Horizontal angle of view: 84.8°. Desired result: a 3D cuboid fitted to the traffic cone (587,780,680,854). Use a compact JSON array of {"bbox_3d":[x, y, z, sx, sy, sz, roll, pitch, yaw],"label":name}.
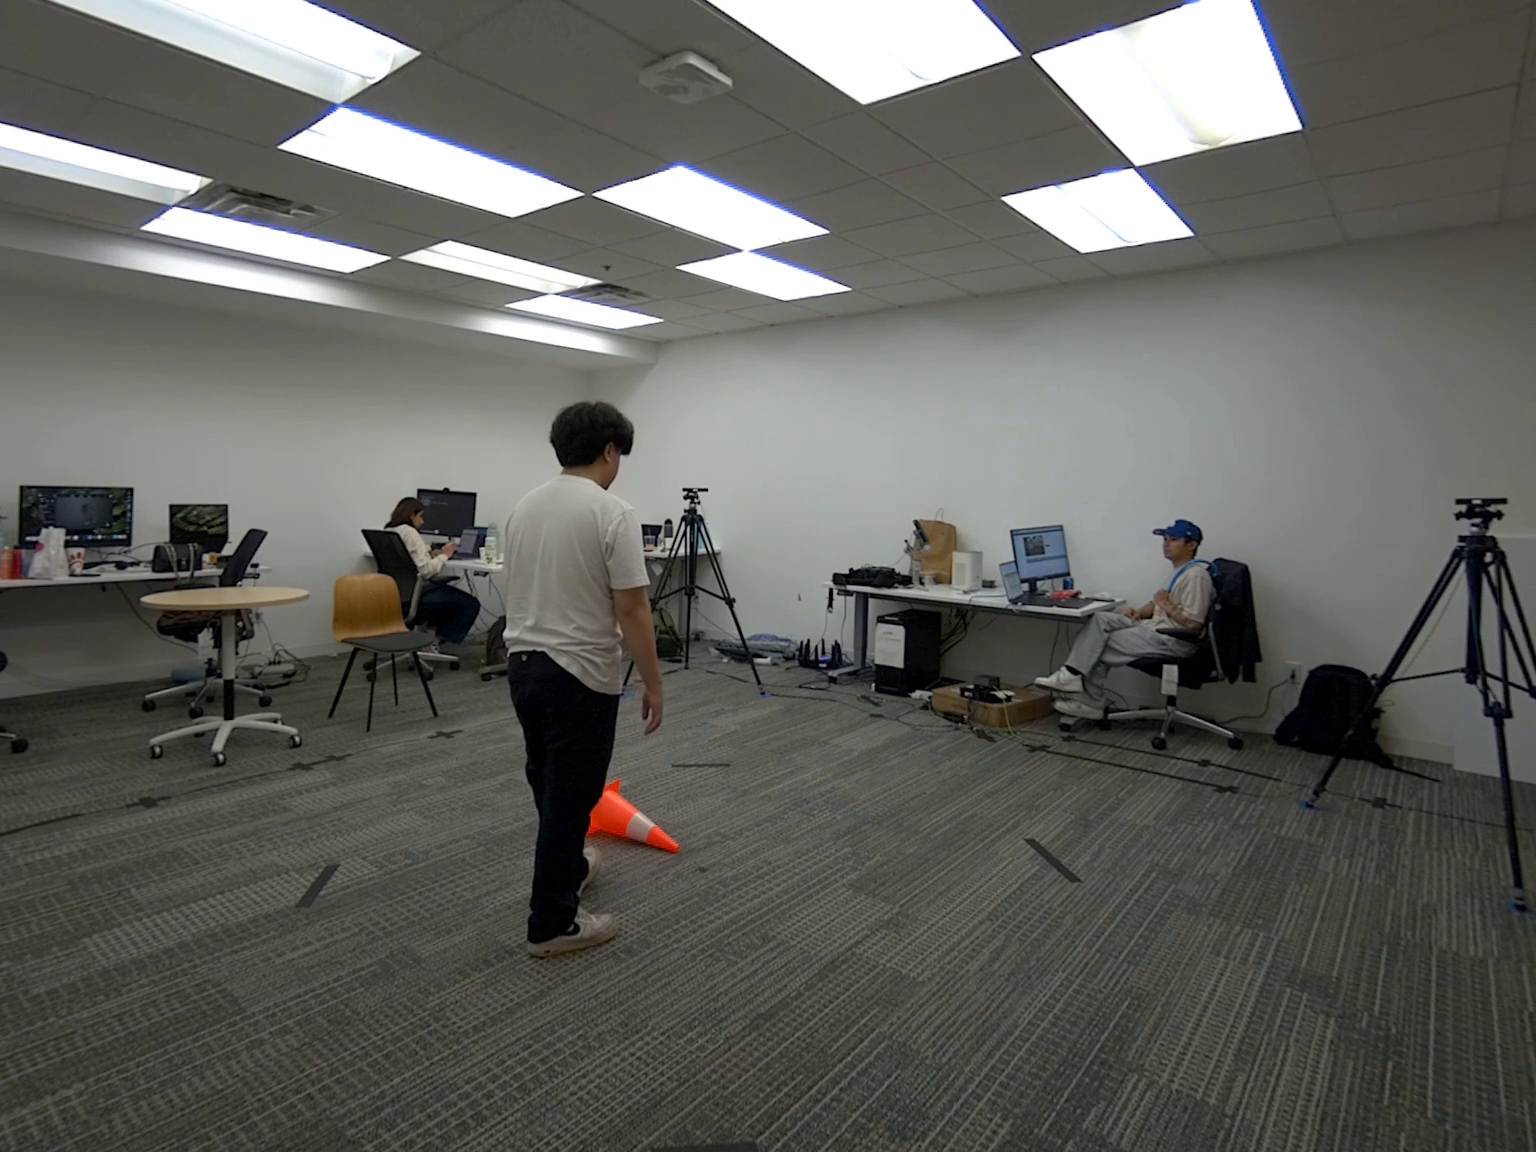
[{"bbox_3d":[-0.517,0.990,3.345,0.396,0.201,0.200,18,14,28],"label":"traffic cone"}]
